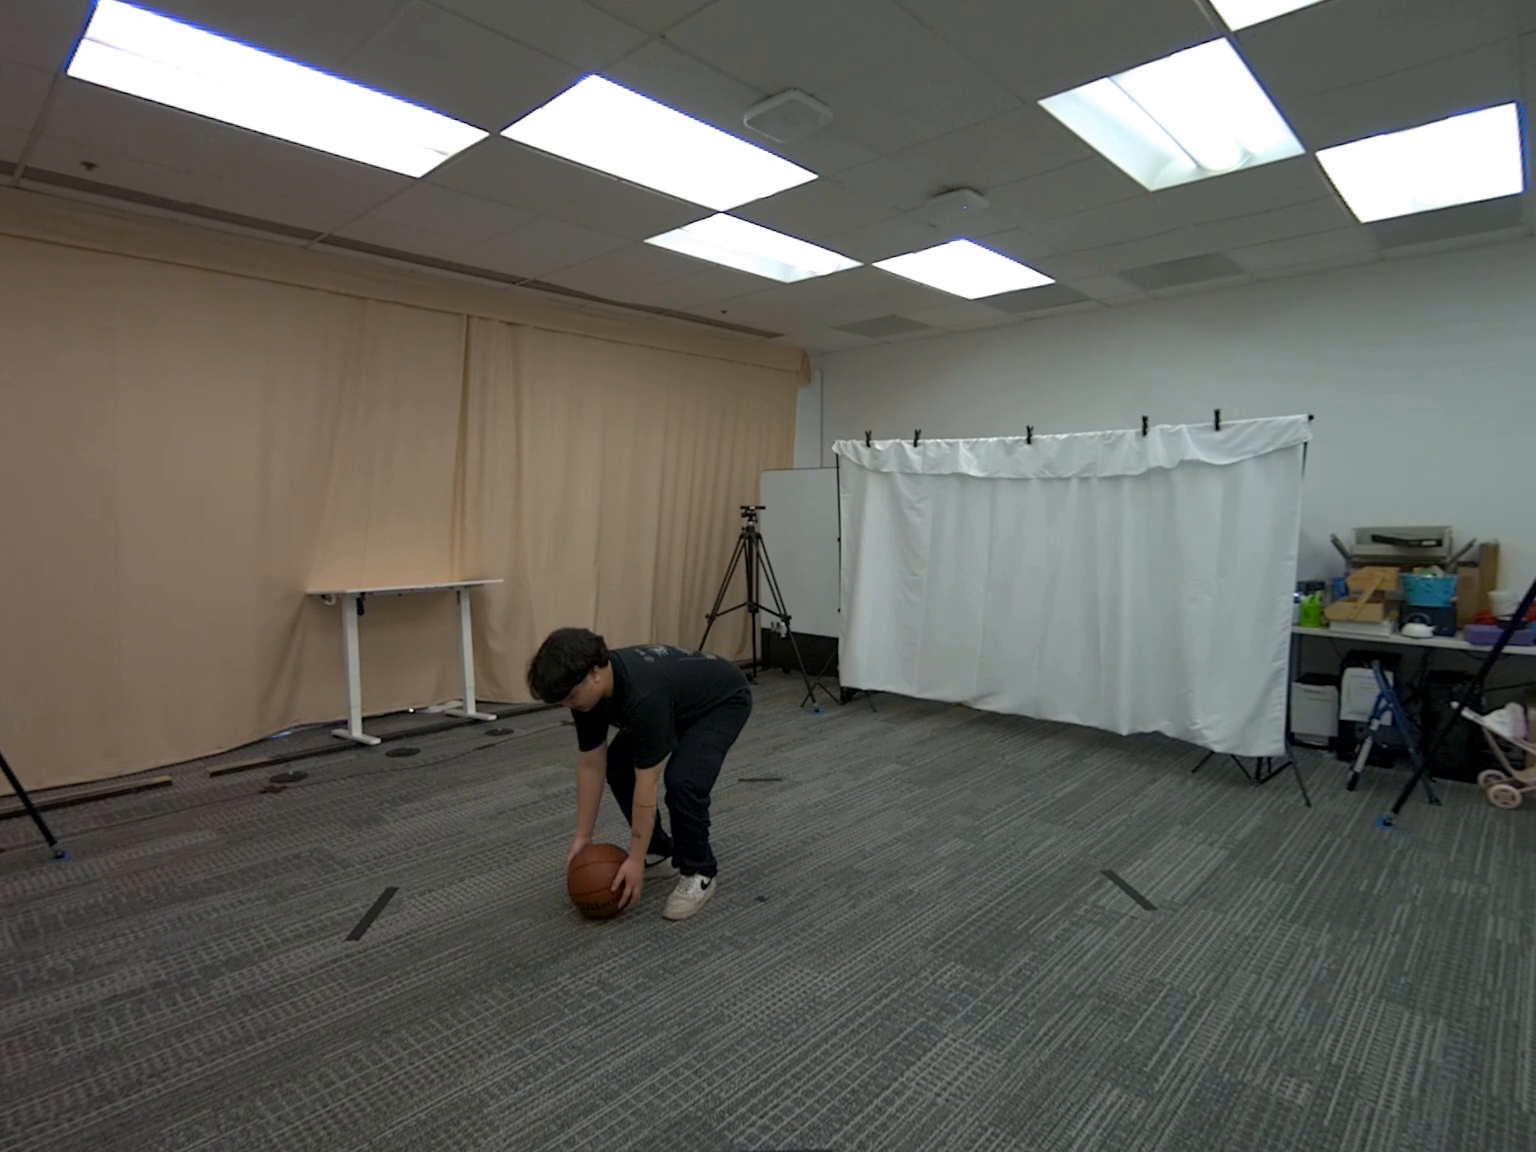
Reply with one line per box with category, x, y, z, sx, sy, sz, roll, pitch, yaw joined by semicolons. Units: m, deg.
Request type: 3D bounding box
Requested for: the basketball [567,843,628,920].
basketball;-0.565;1.036;2.885;0.236;0.235;0.237;0;4;-2
